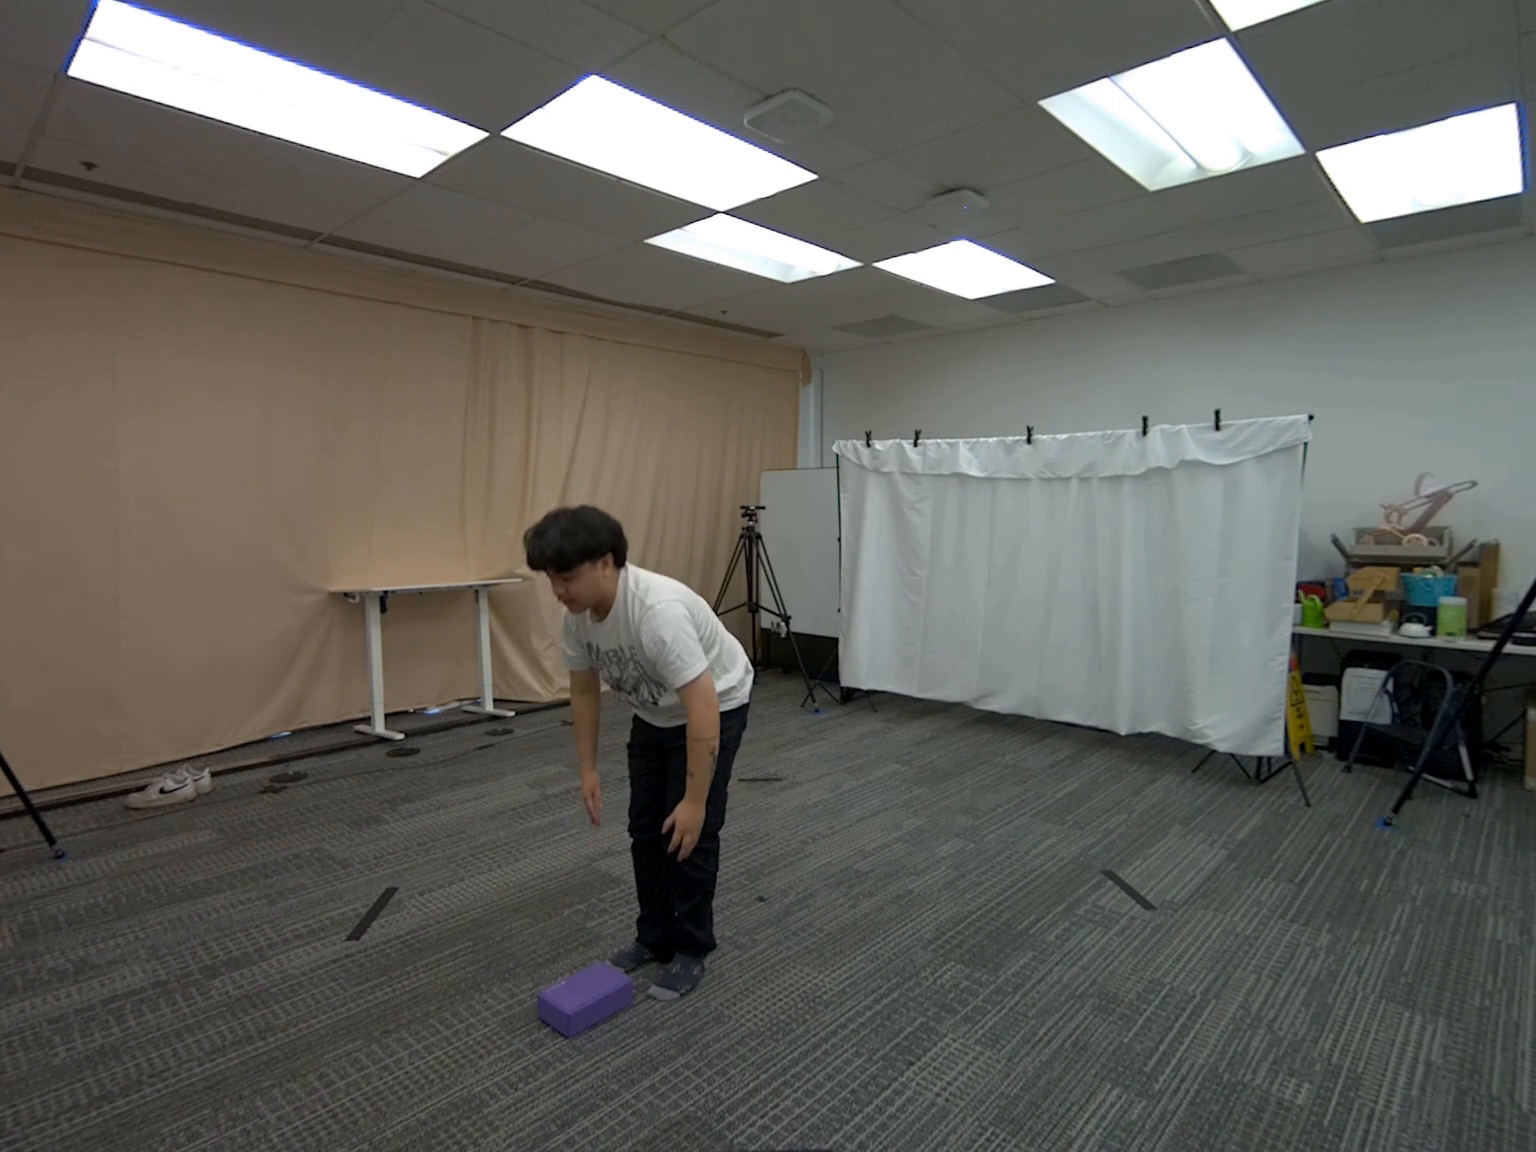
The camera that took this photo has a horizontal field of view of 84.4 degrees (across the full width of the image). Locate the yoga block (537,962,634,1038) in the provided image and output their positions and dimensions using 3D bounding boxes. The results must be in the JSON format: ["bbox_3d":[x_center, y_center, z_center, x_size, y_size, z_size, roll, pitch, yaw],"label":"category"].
[{"bbox_3d":[-0.497,1.160,2.324,0.154,0.076,0.222,5,8,41],"label":"yoga block"}]
